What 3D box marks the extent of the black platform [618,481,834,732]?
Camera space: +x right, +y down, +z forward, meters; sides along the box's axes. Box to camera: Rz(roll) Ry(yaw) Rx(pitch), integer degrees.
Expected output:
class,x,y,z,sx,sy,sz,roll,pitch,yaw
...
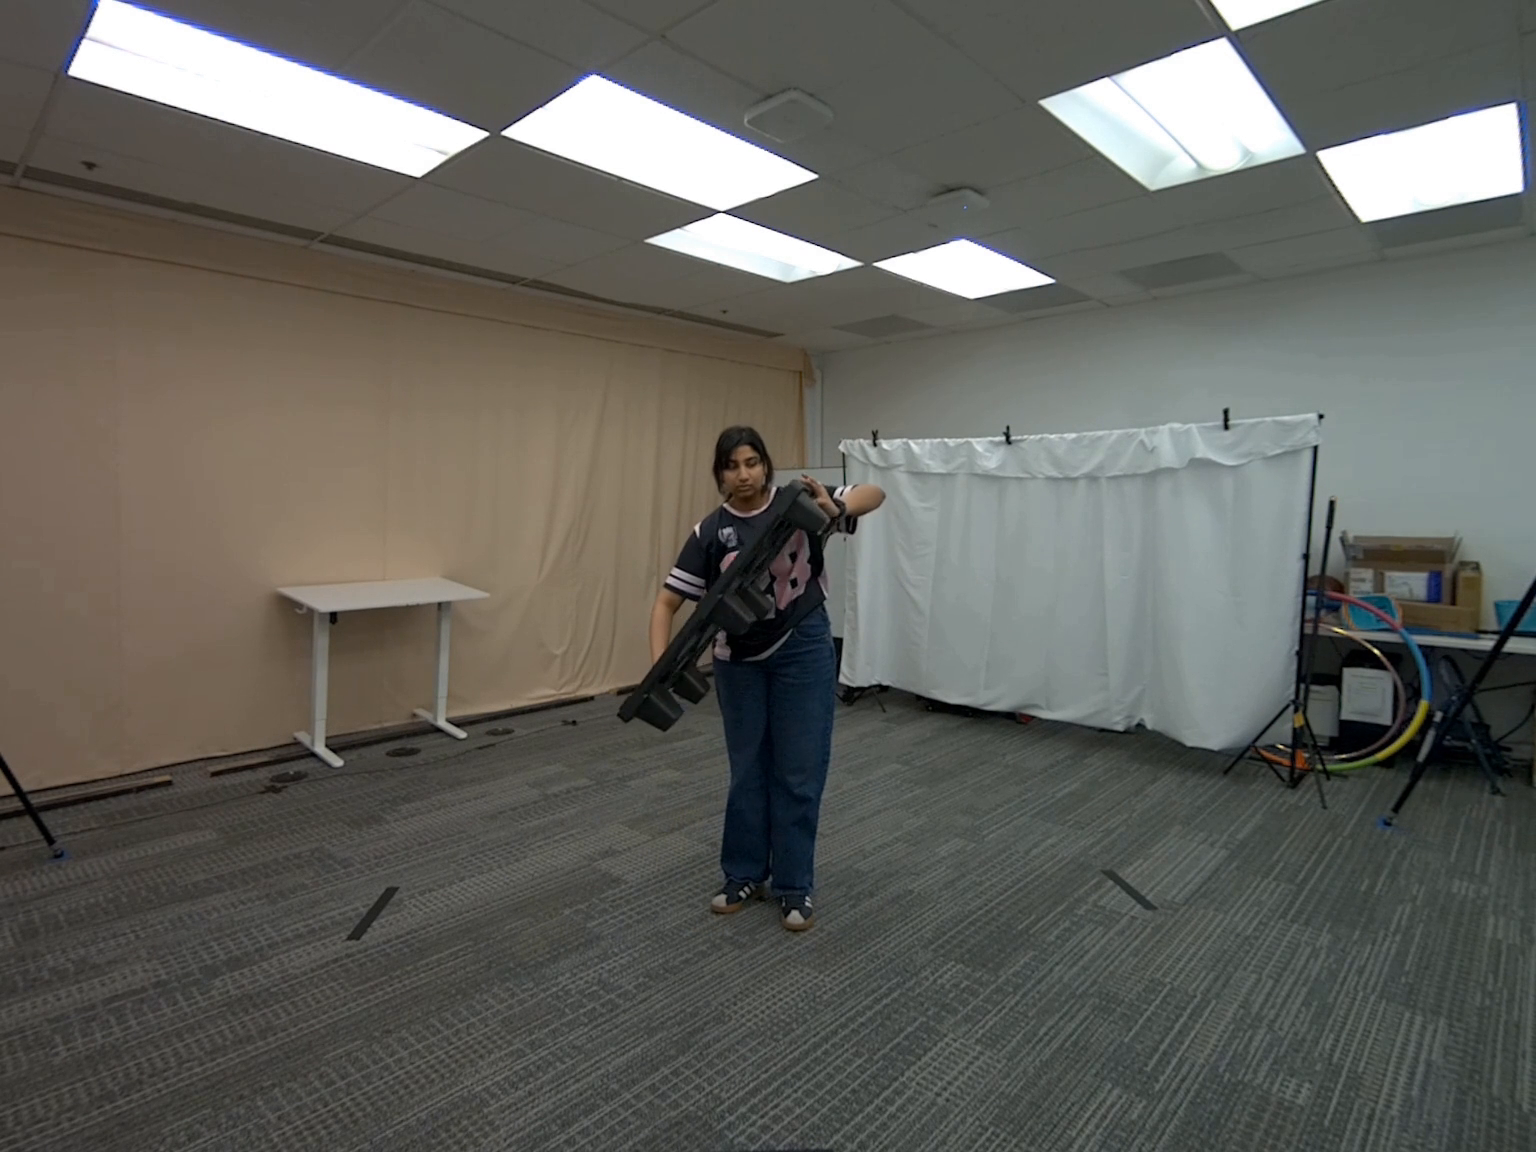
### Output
class,x,y,z,sx,sy,sz,roll,pitch,yaw
black platform,-0.079,0.091,2.490,0.145,0.806,0.598,37,9,6
